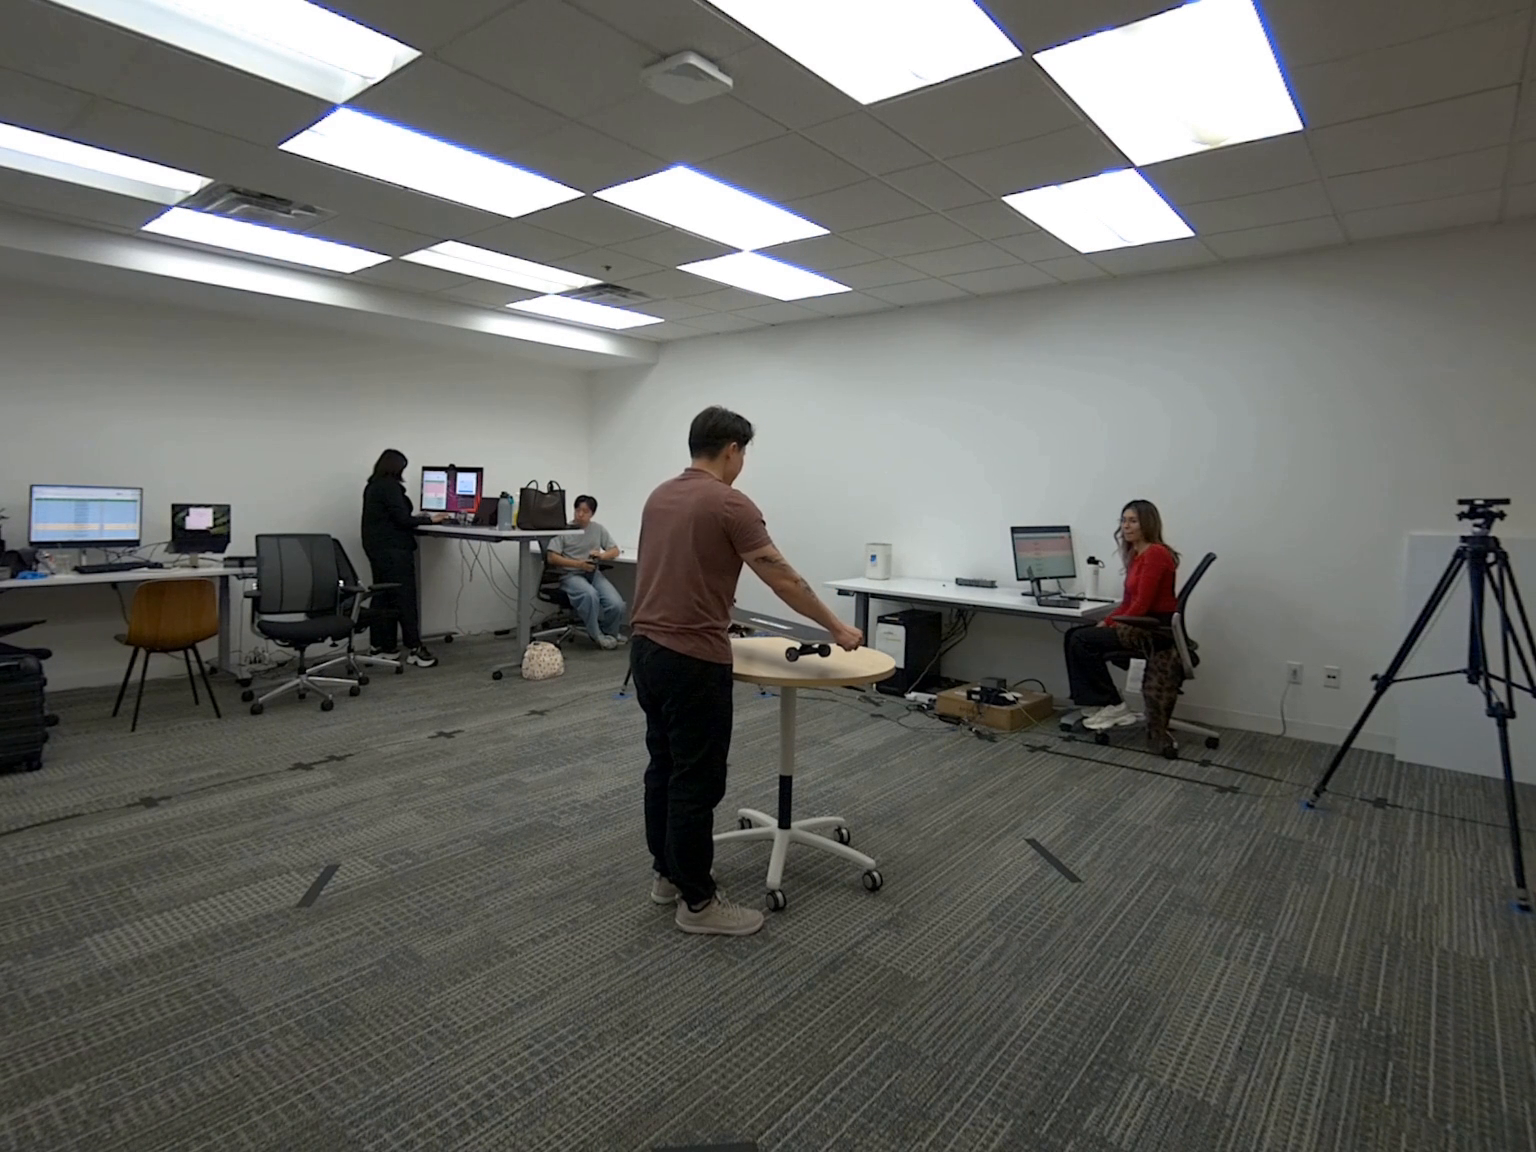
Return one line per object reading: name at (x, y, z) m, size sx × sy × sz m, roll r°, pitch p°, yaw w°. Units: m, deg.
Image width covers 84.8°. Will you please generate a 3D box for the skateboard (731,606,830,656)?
skateboard at (-0.004, 0.196, 3.062) m, size 0.187 × 0.110 × 0.813 m, roll -1°, pitch 8°, yaw -40°
